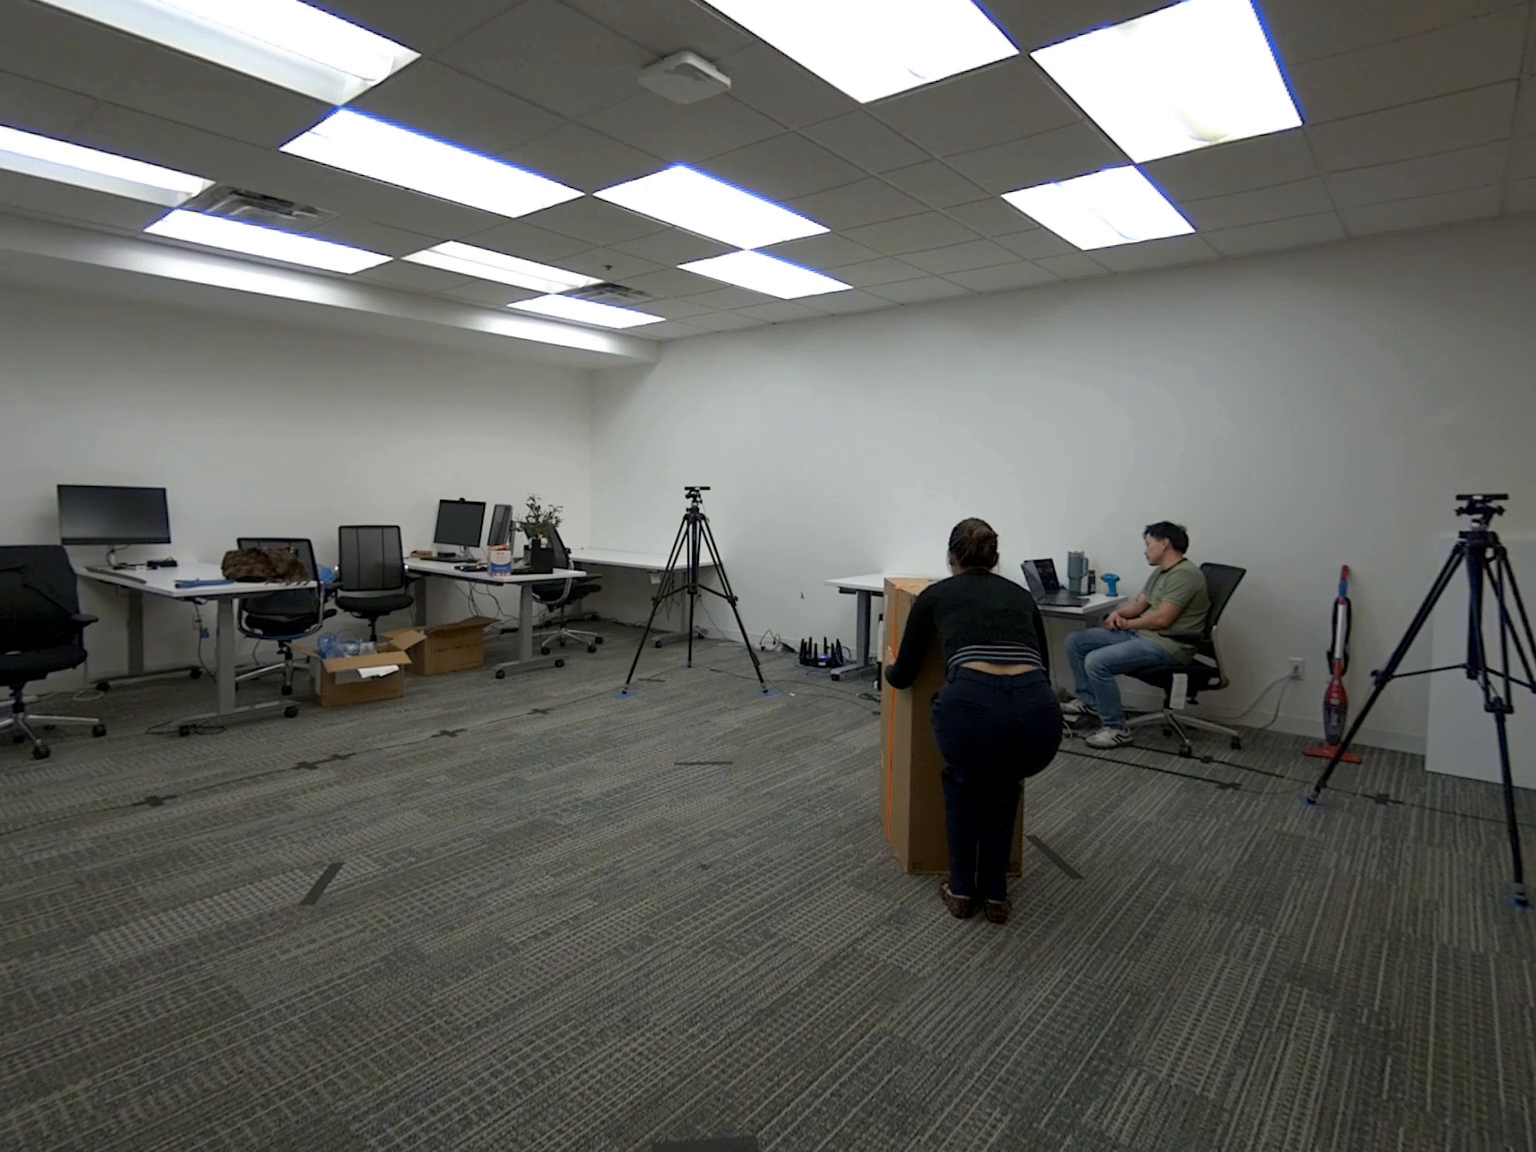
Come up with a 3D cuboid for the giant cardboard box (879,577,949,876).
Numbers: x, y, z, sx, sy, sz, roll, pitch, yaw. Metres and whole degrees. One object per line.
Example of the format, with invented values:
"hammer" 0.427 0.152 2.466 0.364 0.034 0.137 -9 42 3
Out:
"giant cardboard box" 0.696 0.546 3.344 0.426 1.022 0.580 1 4 -1
